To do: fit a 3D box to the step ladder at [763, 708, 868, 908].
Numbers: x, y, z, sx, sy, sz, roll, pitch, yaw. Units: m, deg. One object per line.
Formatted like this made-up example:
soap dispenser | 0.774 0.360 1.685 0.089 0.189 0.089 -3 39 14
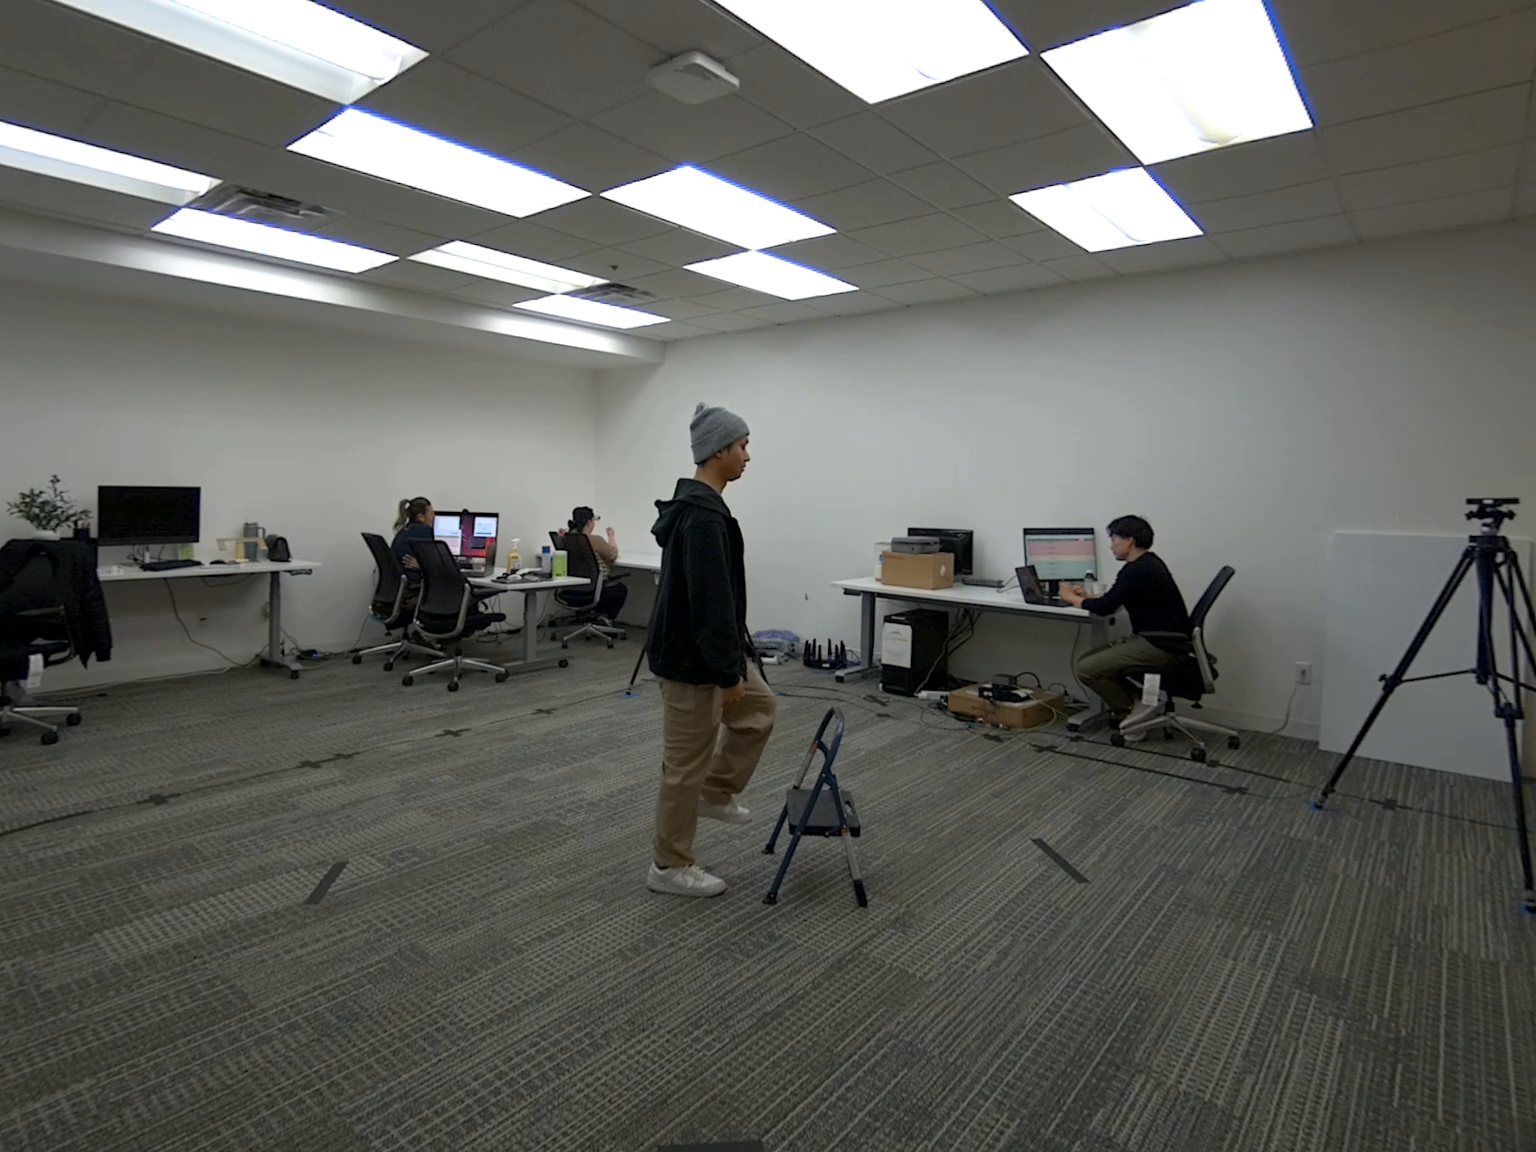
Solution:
step ladder | 0.158 0.781 3.036 0.350 0.604 0.432 1 4 0
